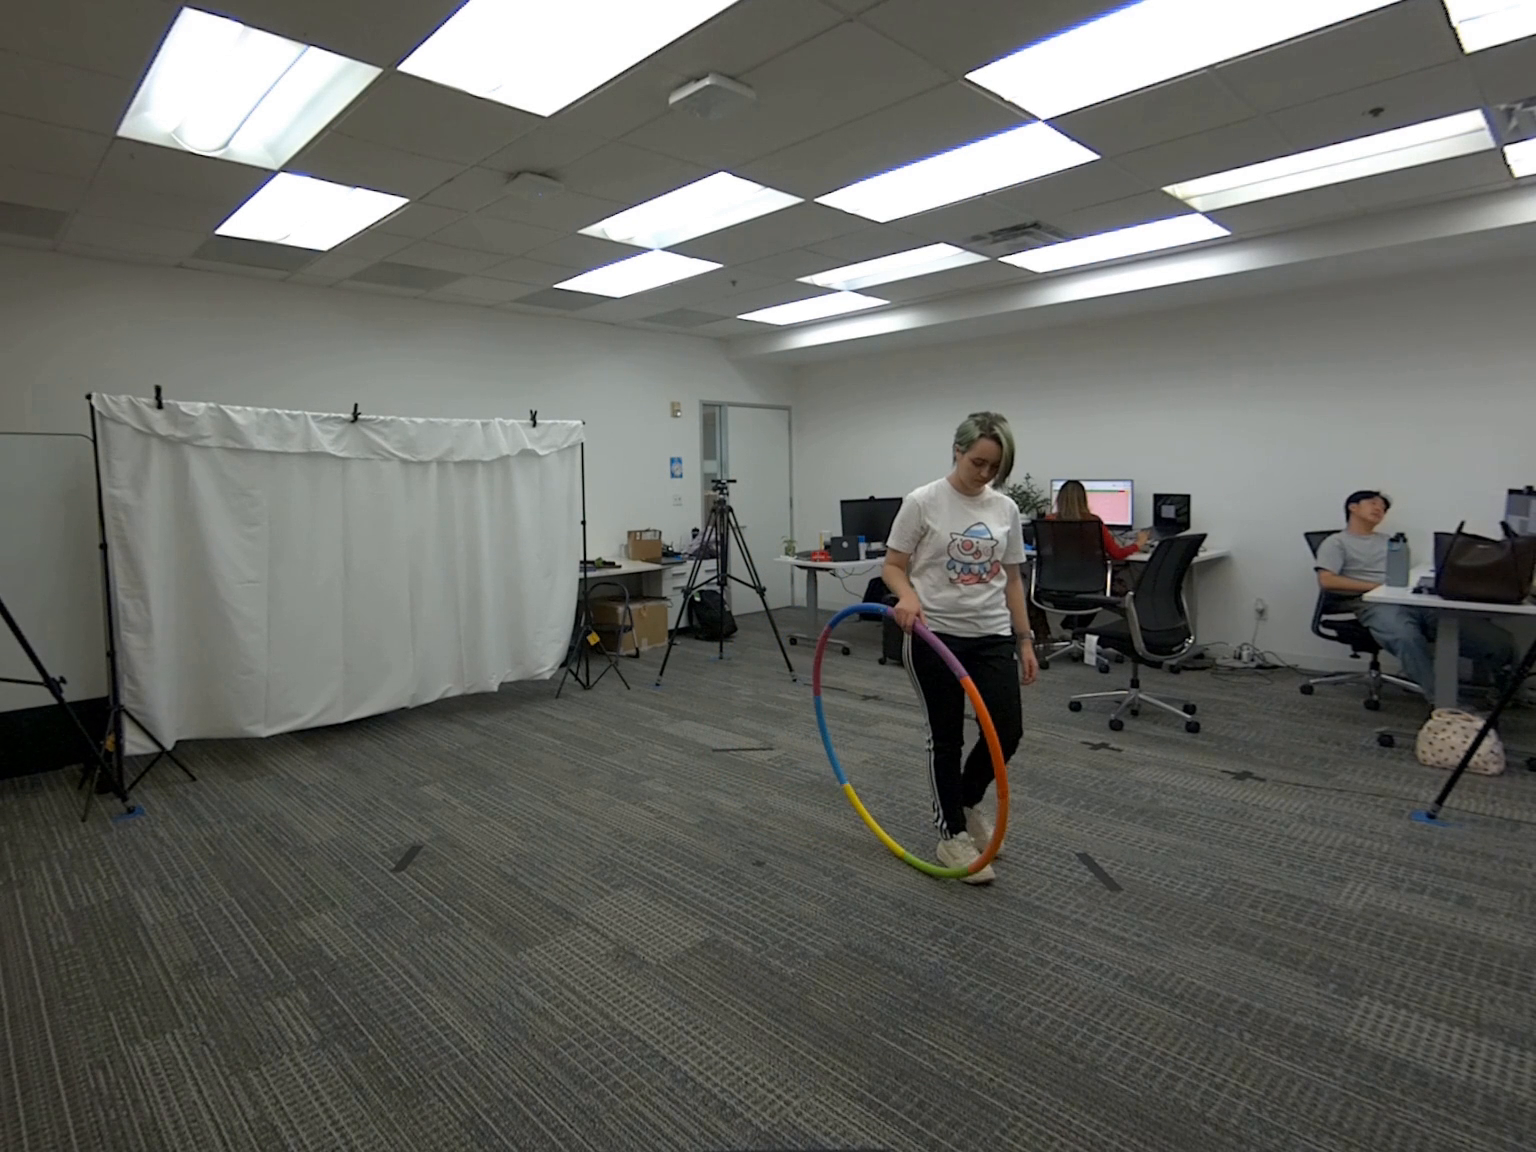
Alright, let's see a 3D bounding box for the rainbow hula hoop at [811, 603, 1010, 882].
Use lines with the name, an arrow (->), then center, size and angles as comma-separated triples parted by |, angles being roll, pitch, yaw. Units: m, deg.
rainbow hula hoop -> 0.452, 0.568, 2.999 | 0.035, 0.970, 1.005 | -13, 10, -28
